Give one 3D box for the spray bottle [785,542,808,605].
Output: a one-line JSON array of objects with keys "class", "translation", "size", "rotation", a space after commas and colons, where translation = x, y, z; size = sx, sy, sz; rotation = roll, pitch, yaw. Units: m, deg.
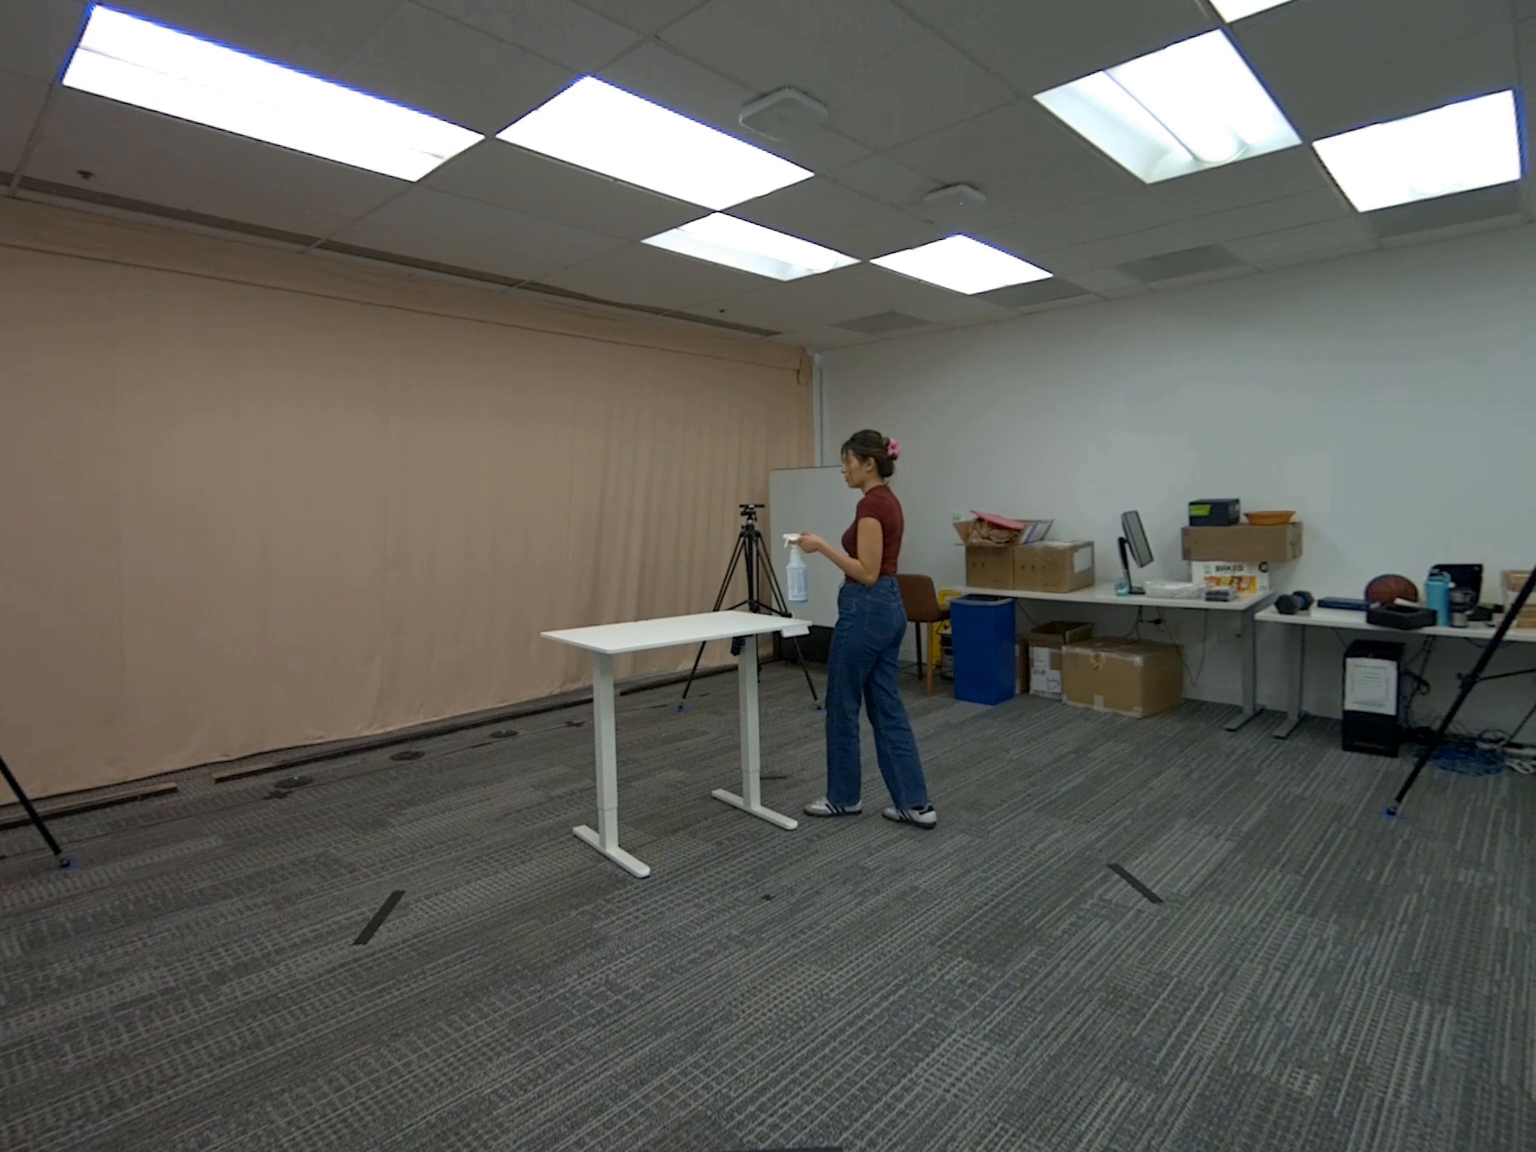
[{"class": "spray bottle", "translation": [0.127, -0.032, 3.629], "size": [0.091, 0.296, 0.086], "rotation": [-3, 6, 9]}]
